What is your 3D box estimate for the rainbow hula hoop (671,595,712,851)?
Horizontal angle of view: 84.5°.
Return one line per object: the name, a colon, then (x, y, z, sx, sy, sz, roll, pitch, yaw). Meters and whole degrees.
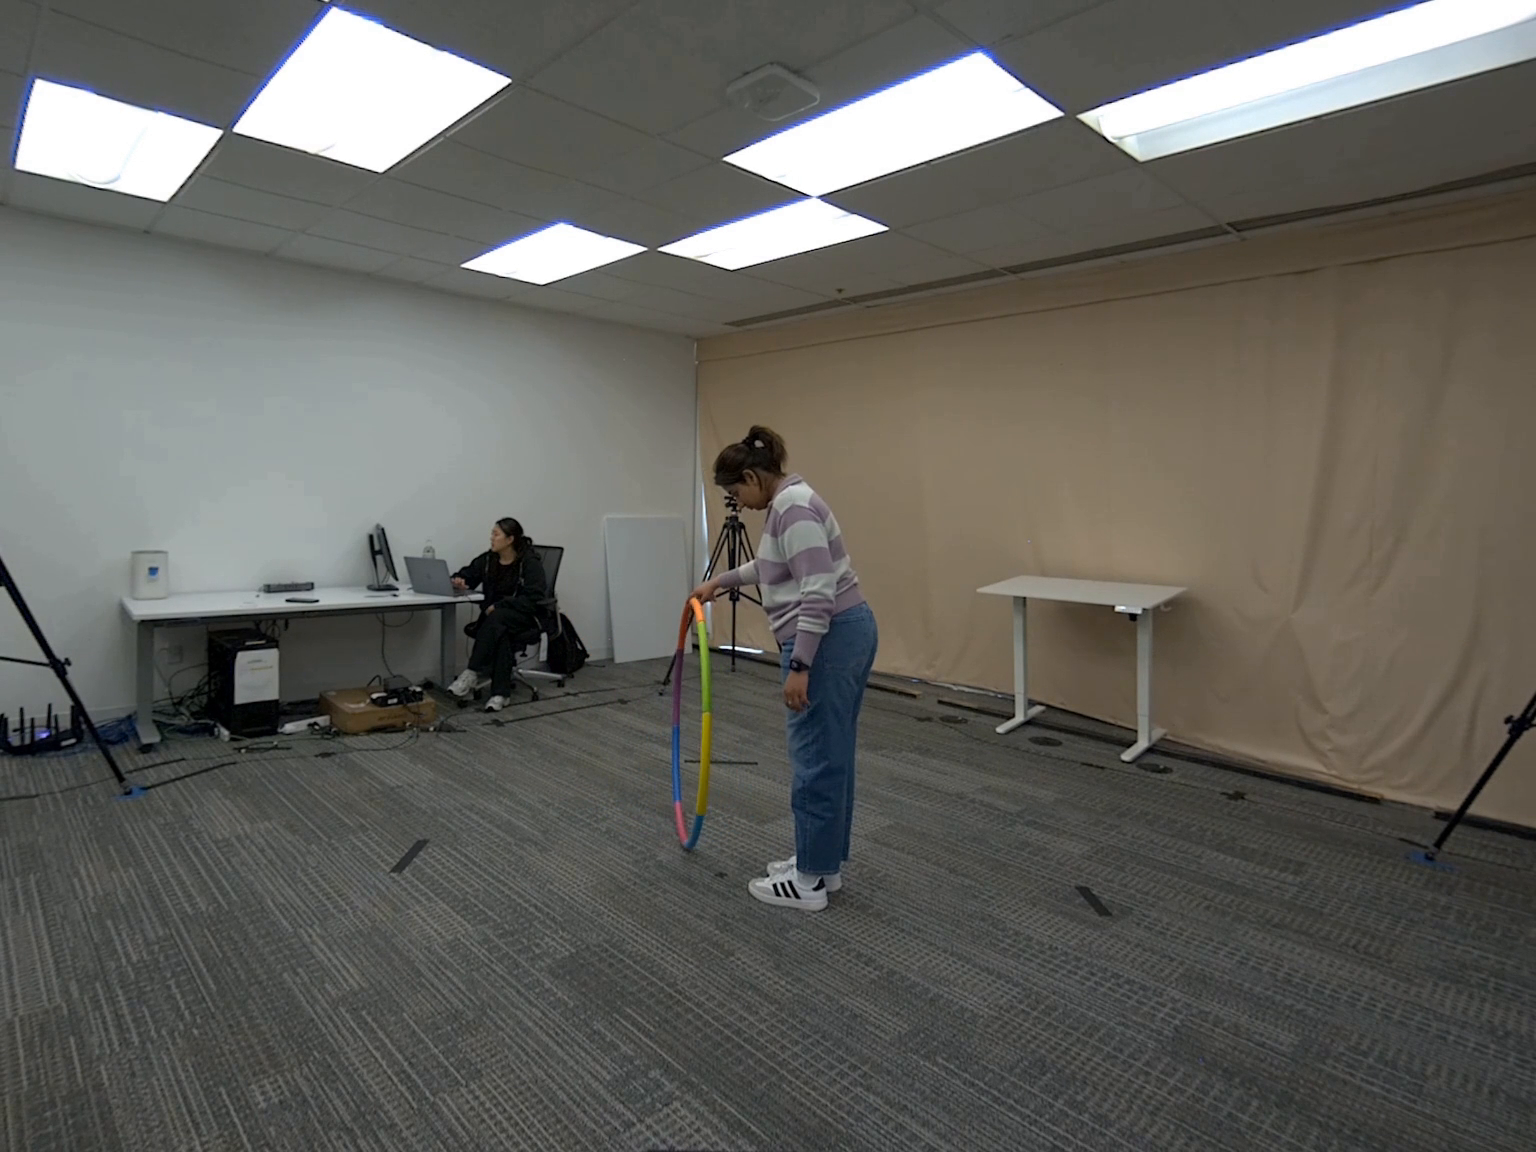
rainbow hula hoop: (-0.322, 0.581, 3.409, 0.035, 0.976, 0.990, 4, 4, -12)
